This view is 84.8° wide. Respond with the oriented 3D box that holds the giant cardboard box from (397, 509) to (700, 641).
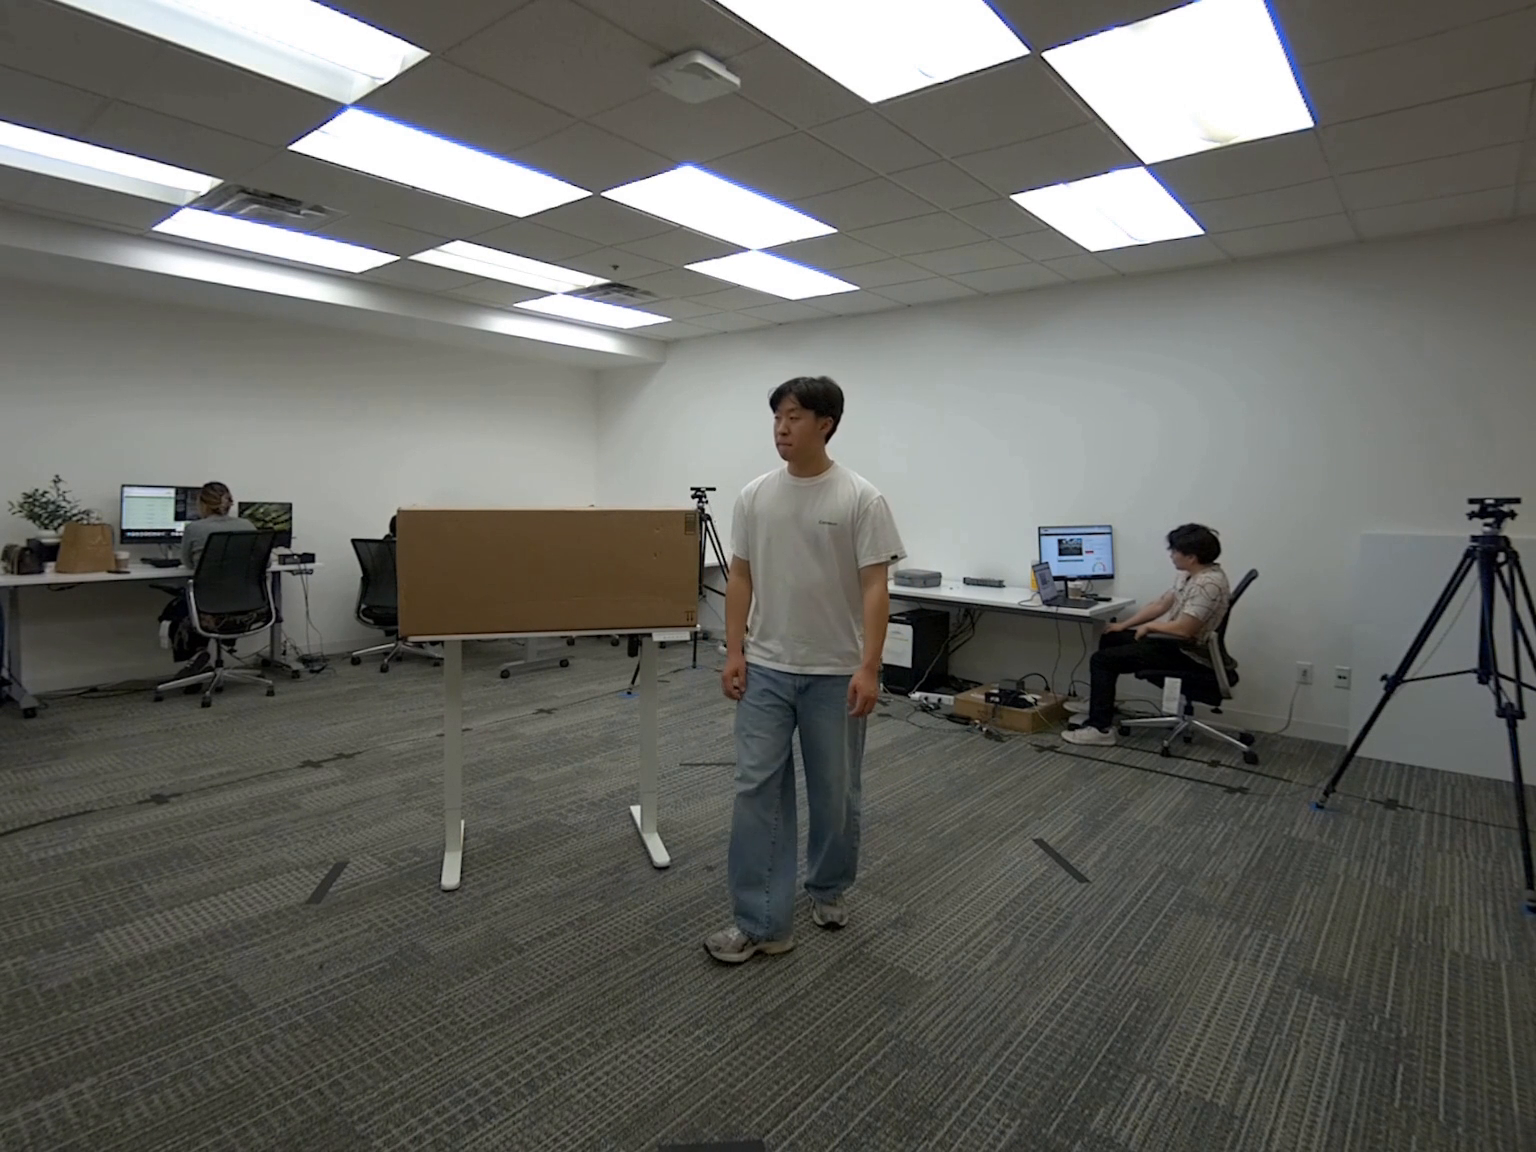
[{"bbox_3d":[-0.832,-0.047,3.197,1.009,0.424,0.590,-1,6,-16],"label":"giant cardboard box"}]
